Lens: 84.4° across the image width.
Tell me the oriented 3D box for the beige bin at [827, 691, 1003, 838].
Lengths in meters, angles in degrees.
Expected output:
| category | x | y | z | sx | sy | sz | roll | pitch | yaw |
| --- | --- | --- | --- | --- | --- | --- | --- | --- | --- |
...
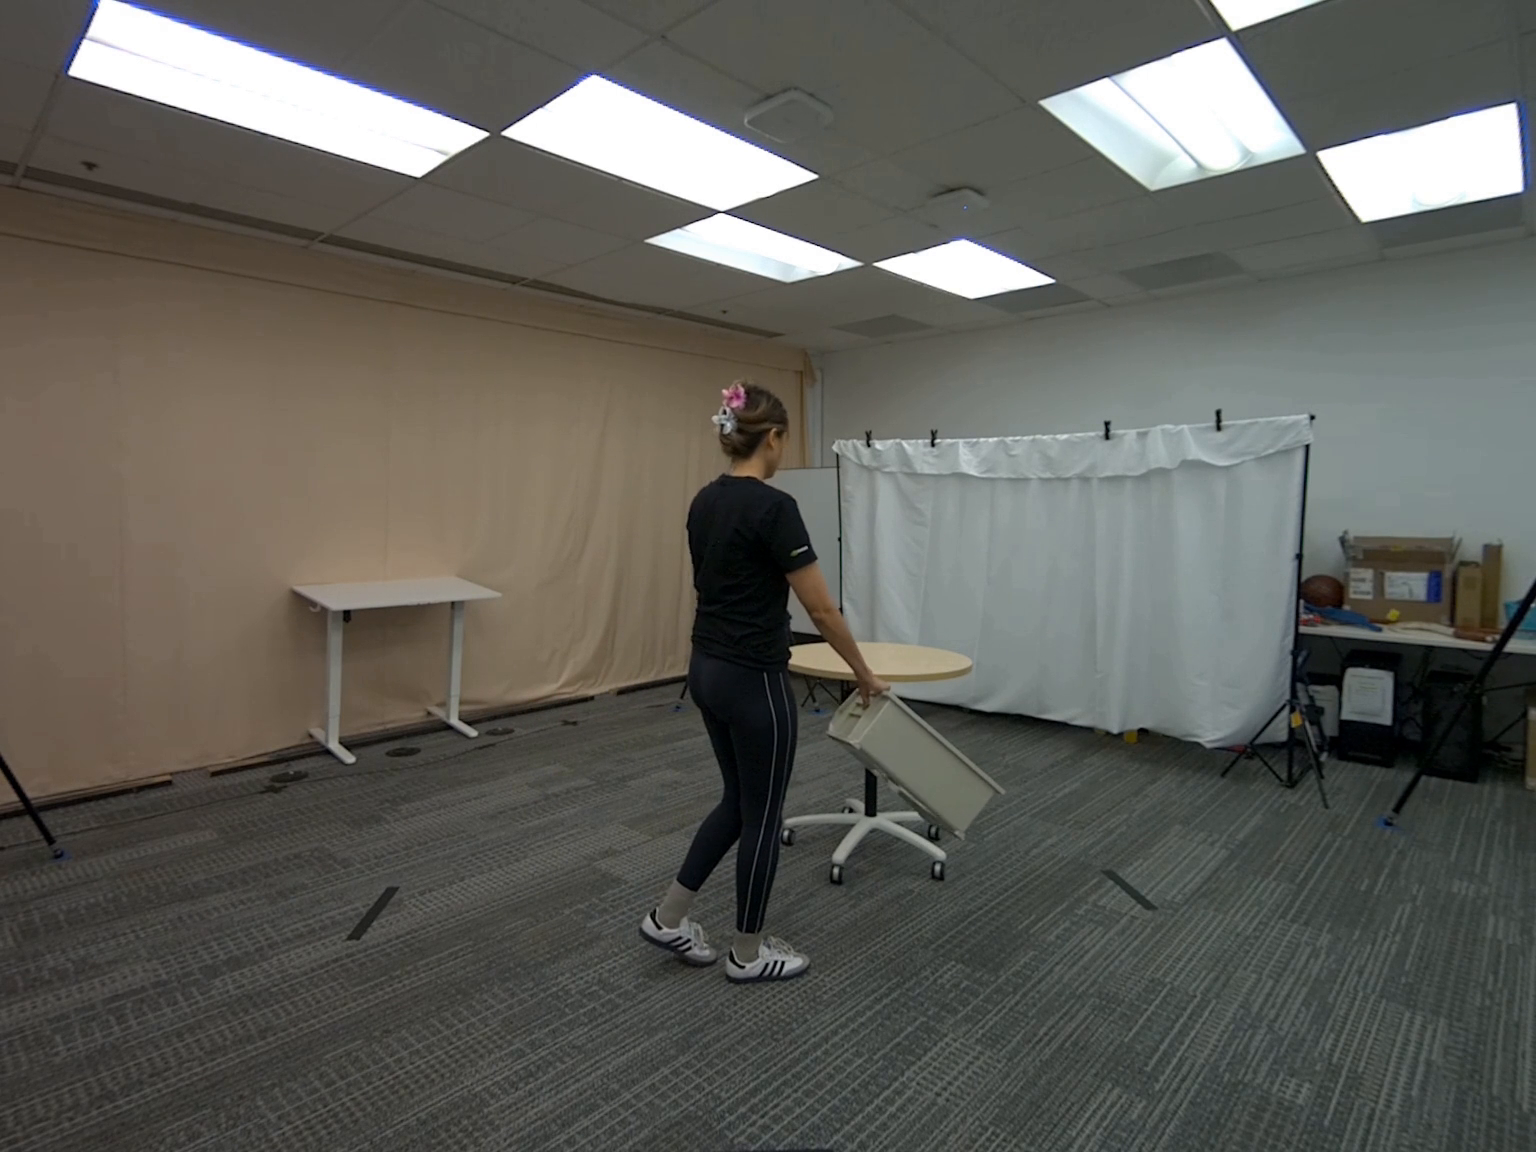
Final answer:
| category | x | y | z | sx | sy | sz | roll | pitch | yaw |
| --- | --- | --- | --- | --- | --- | --- | --- | --- | --- |
| beige bin | 0.410 | 0.543 | 2.482 | 0.423 | 0.188 | 0.378 | 41 | -9 | 0 |
